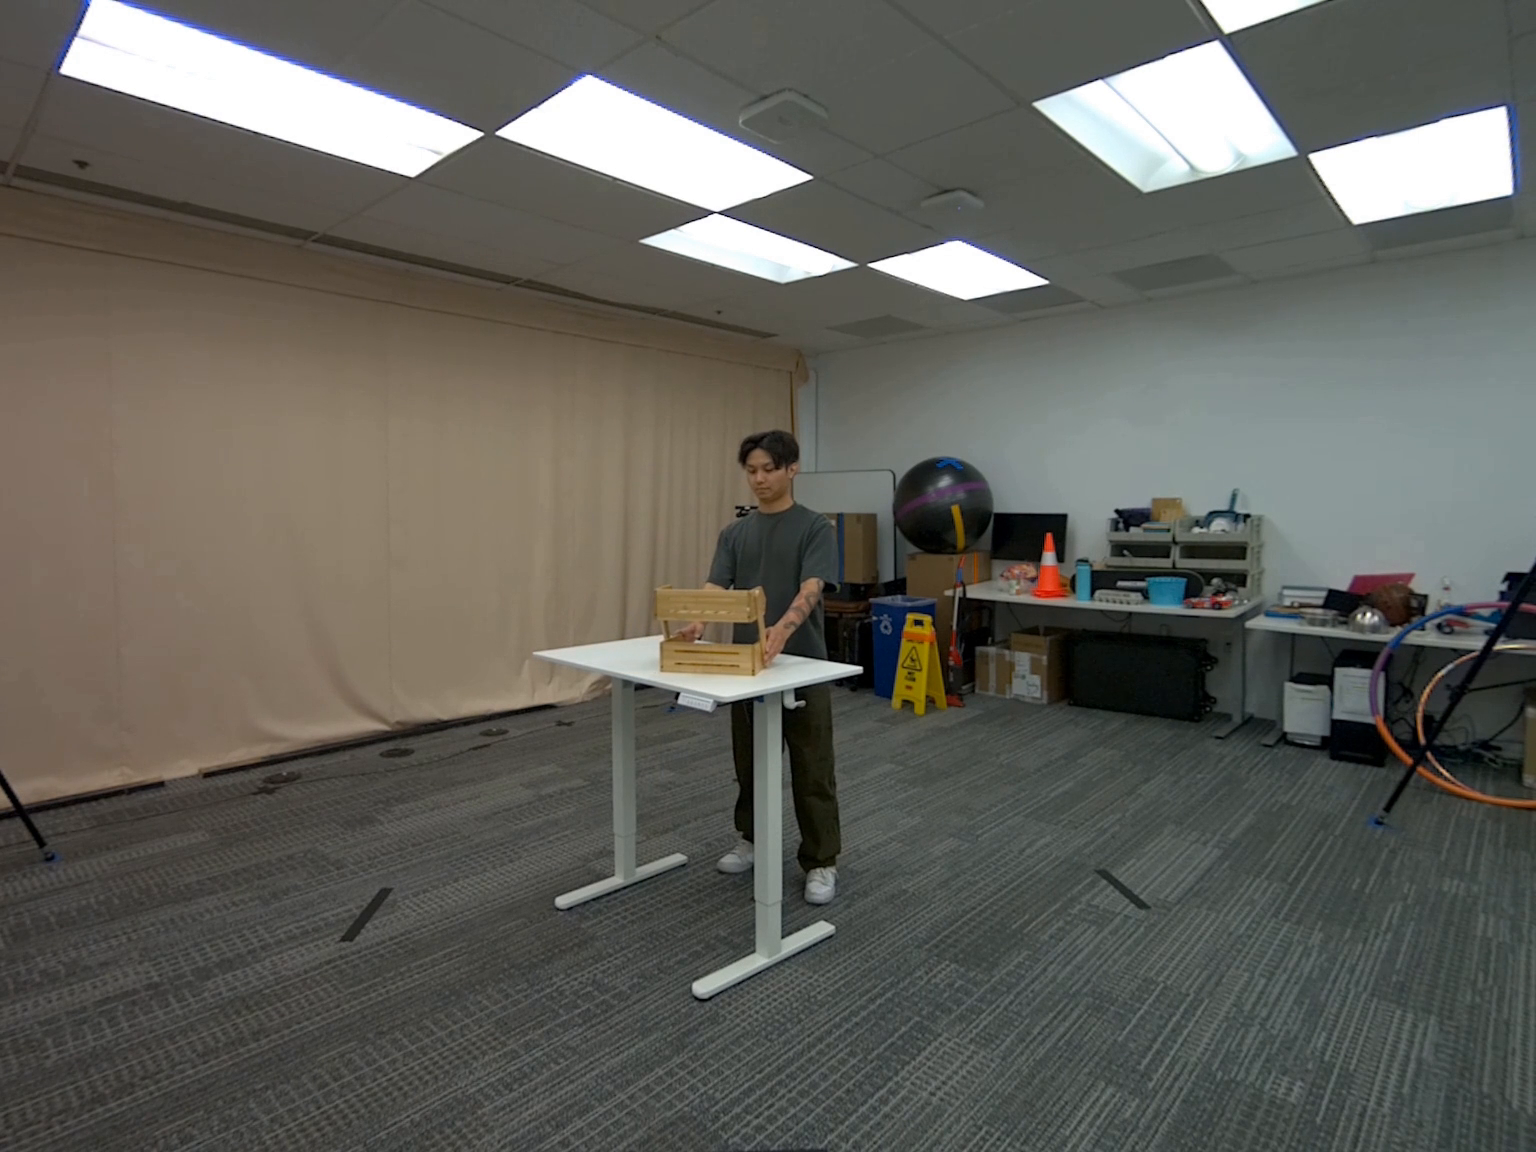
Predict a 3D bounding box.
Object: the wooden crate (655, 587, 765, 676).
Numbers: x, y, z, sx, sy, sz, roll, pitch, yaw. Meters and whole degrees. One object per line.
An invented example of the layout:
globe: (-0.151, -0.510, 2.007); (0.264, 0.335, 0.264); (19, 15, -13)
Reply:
wooden crate: (-0.166, 0.160, 2.644); (0.329, 0.273, 0.298); (0, 3, 14)
